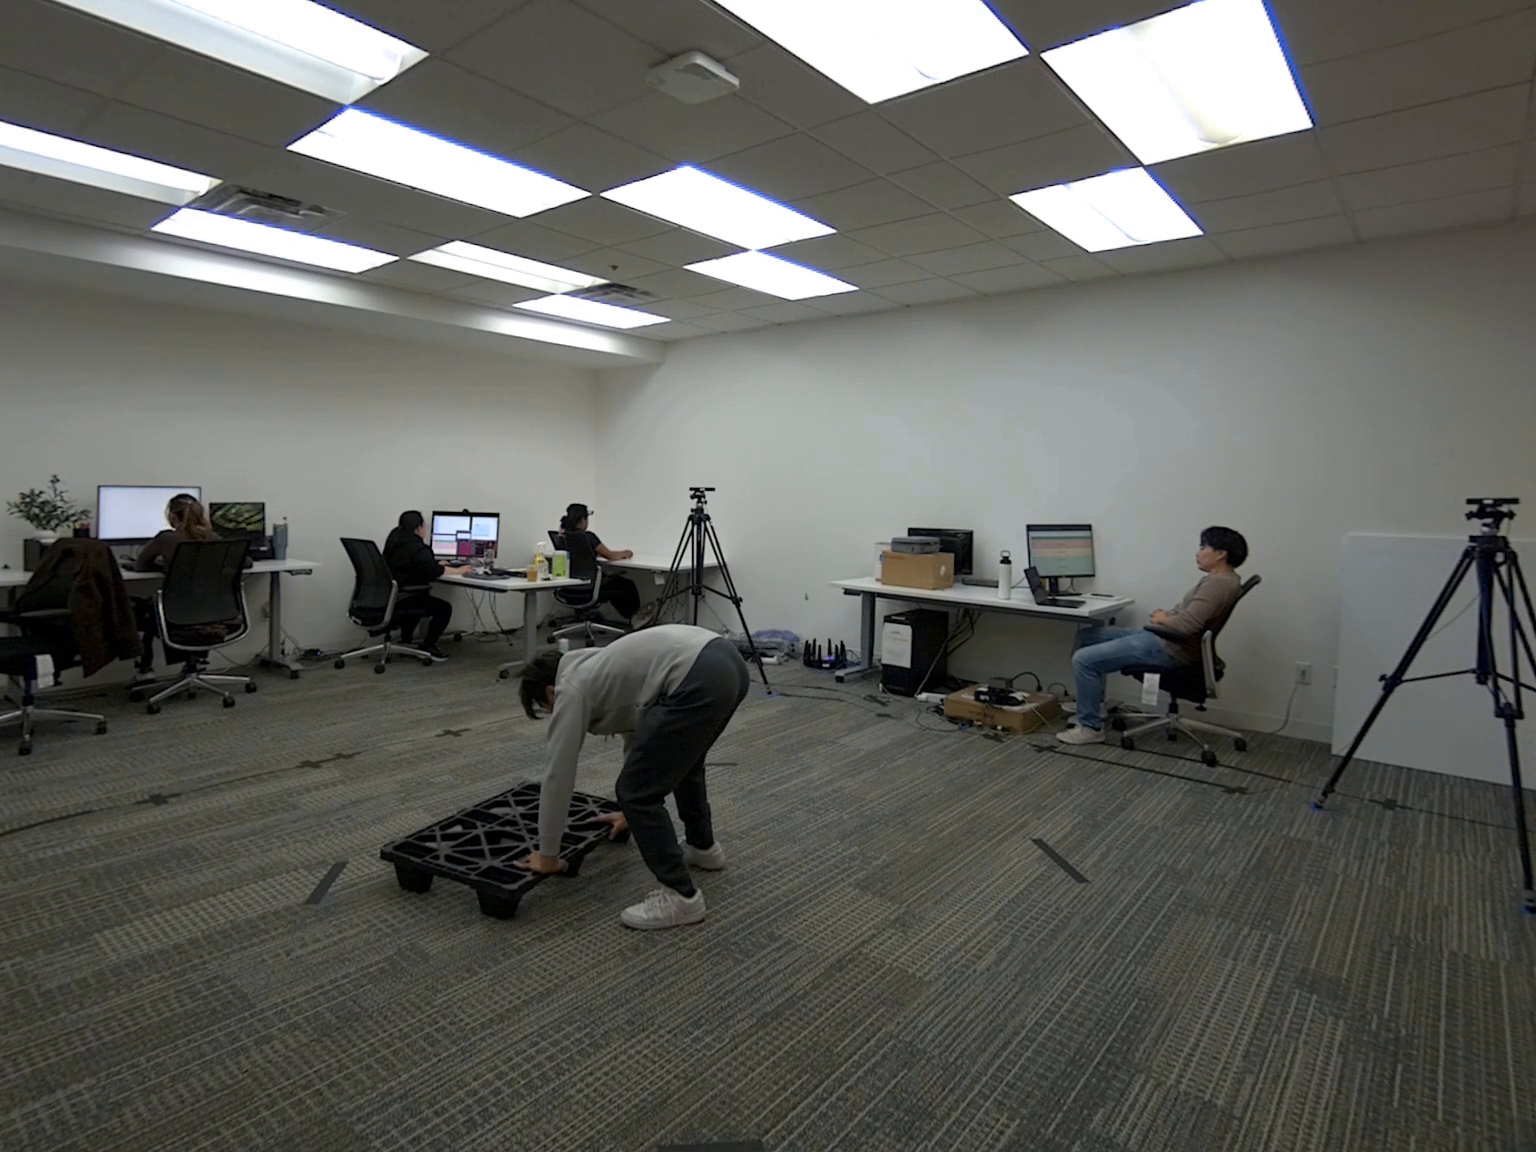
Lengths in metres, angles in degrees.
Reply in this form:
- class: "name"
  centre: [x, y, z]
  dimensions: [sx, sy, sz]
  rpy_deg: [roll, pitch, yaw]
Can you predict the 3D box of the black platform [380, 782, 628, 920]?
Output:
- class: "black platform"
  centre: [-0.916, 0.982, 3.130]
  dimensions: [0.621, 0.143, 0.788]
  rpy_deg: [3, 6, 24]
